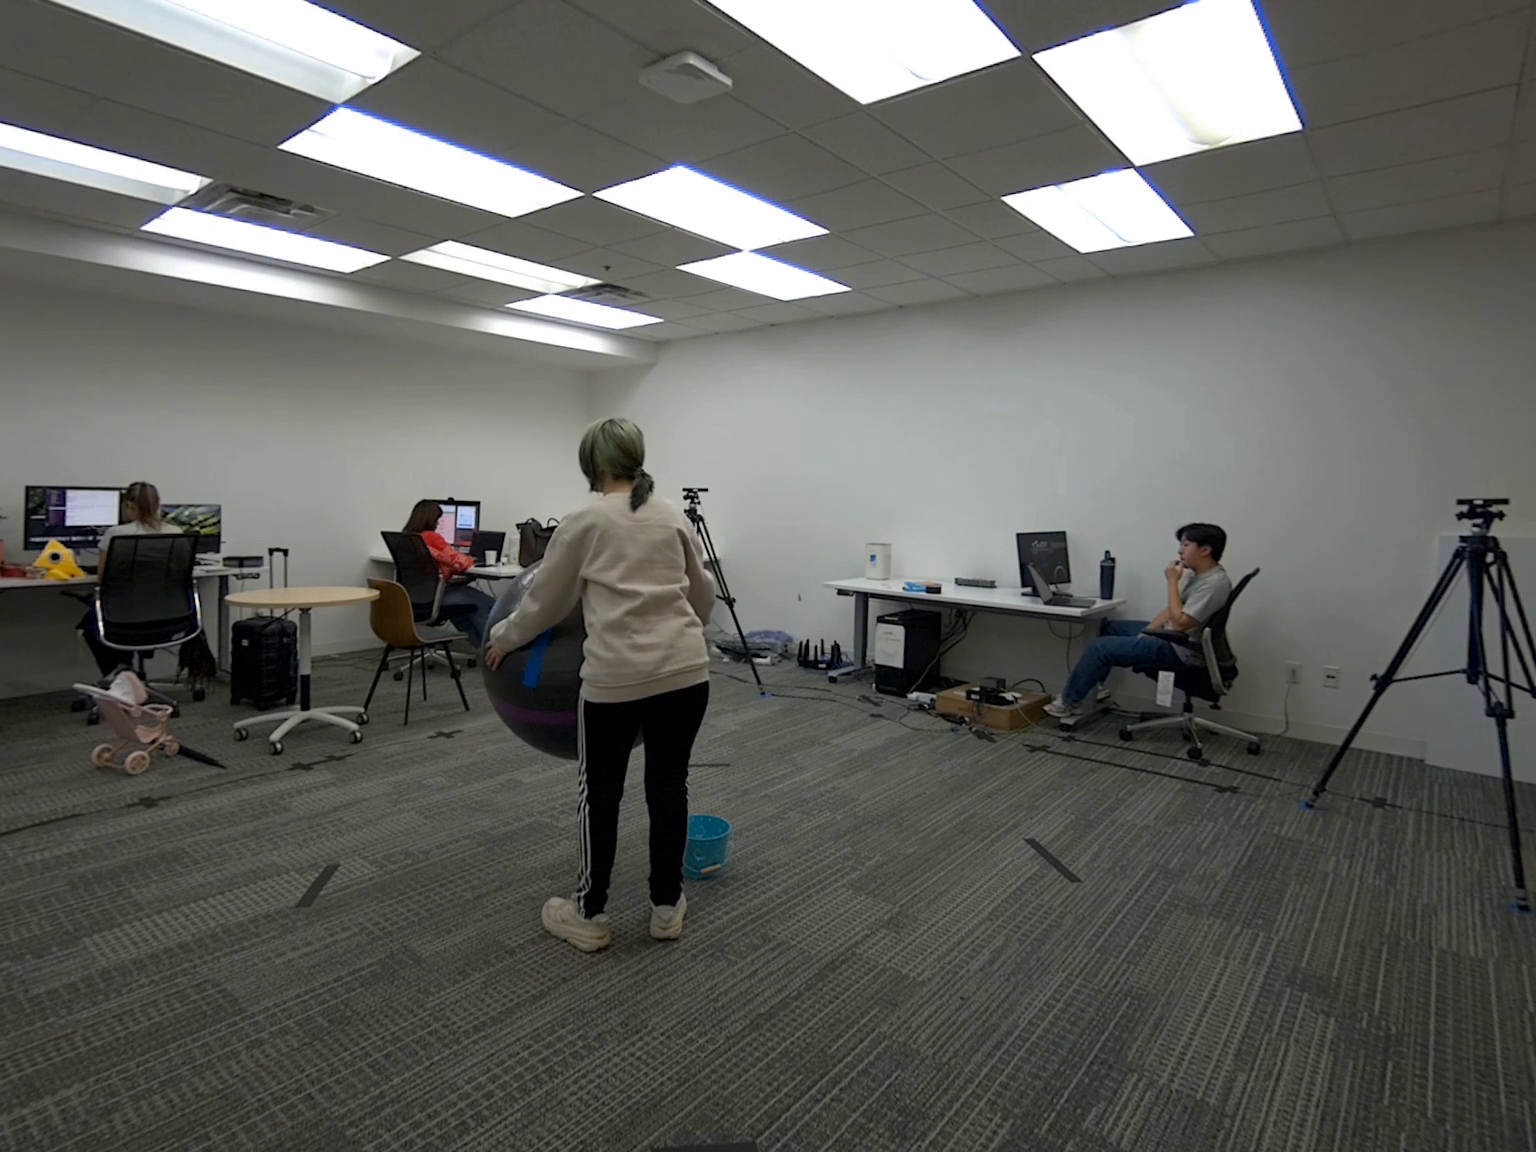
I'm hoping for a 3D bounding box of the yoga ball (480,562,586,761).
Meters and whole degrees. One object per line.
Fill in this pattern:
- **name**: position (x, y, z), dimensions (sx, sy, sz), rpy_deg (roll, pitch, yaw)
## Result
- **yoga ball**: position (-0.659, 0.292, 3.081), dimensions (0.757, 0.755, 0.762), rpy_deg (1, 4, -2)
